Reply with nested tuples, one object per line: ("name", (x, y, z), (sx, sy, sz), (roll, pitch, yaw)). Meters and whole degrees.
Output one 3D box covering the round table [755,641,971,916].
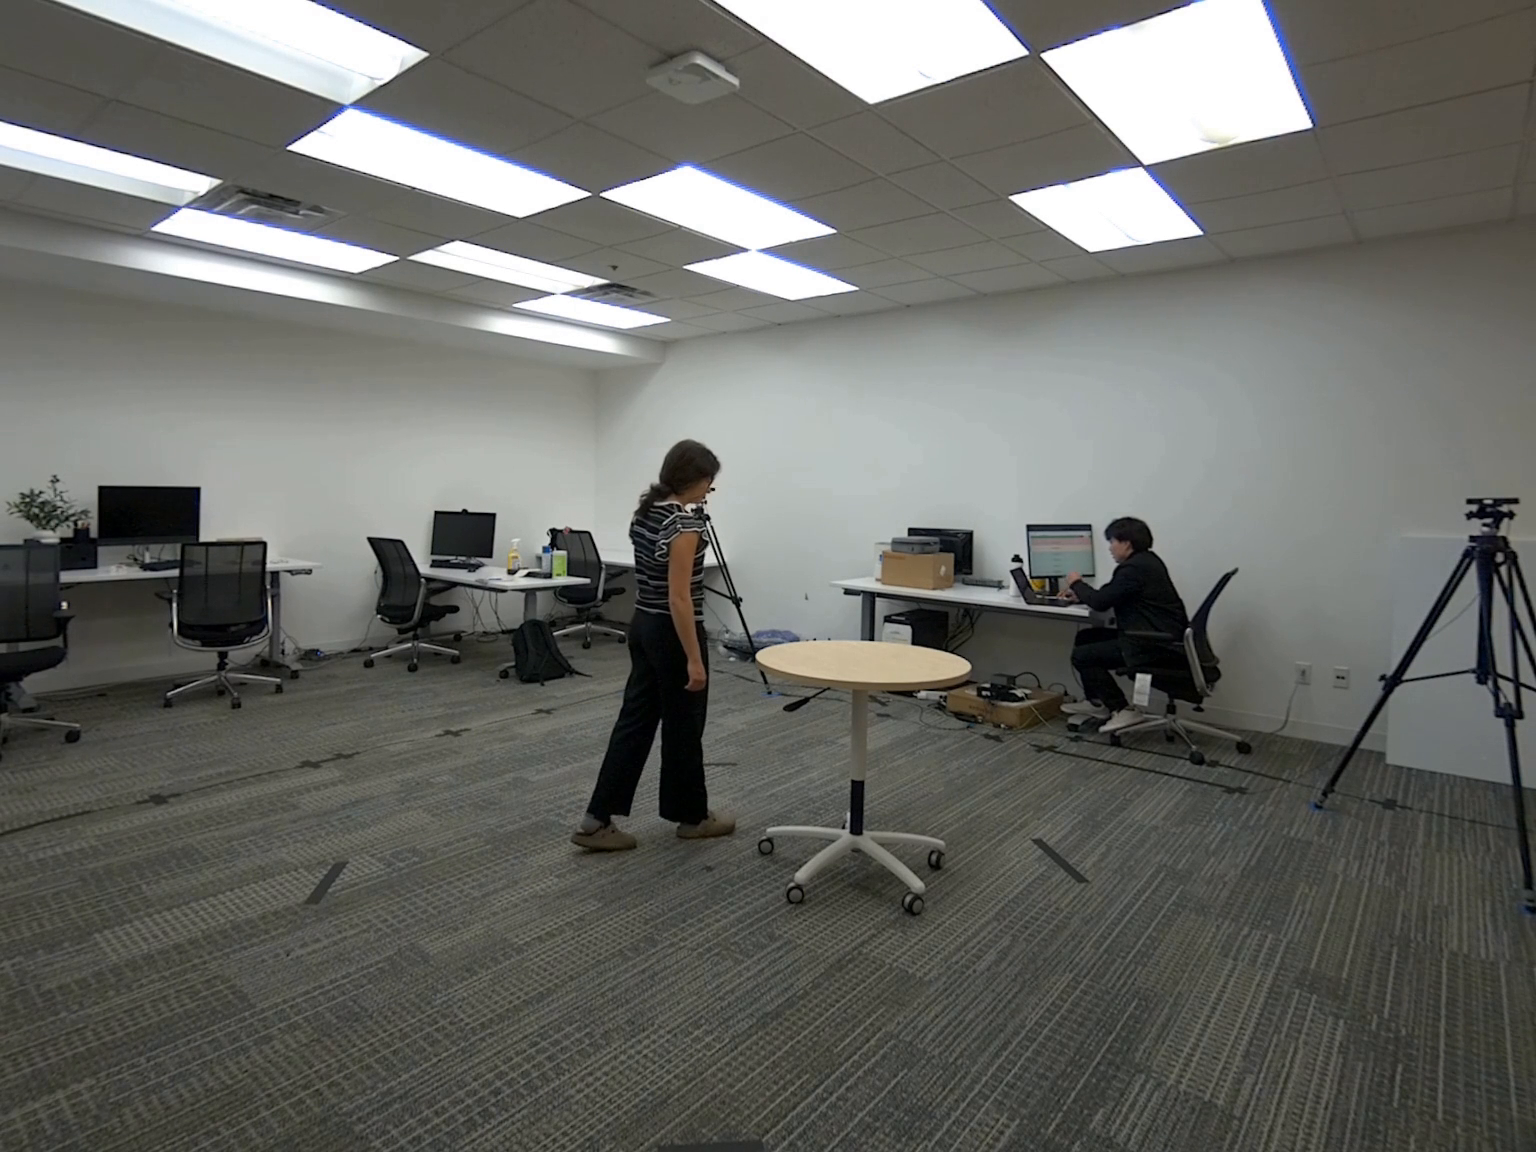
("round table", (0.319, 0.692, 3.104), (0.763, 0.791, 0.768), (1, 4, -2))
